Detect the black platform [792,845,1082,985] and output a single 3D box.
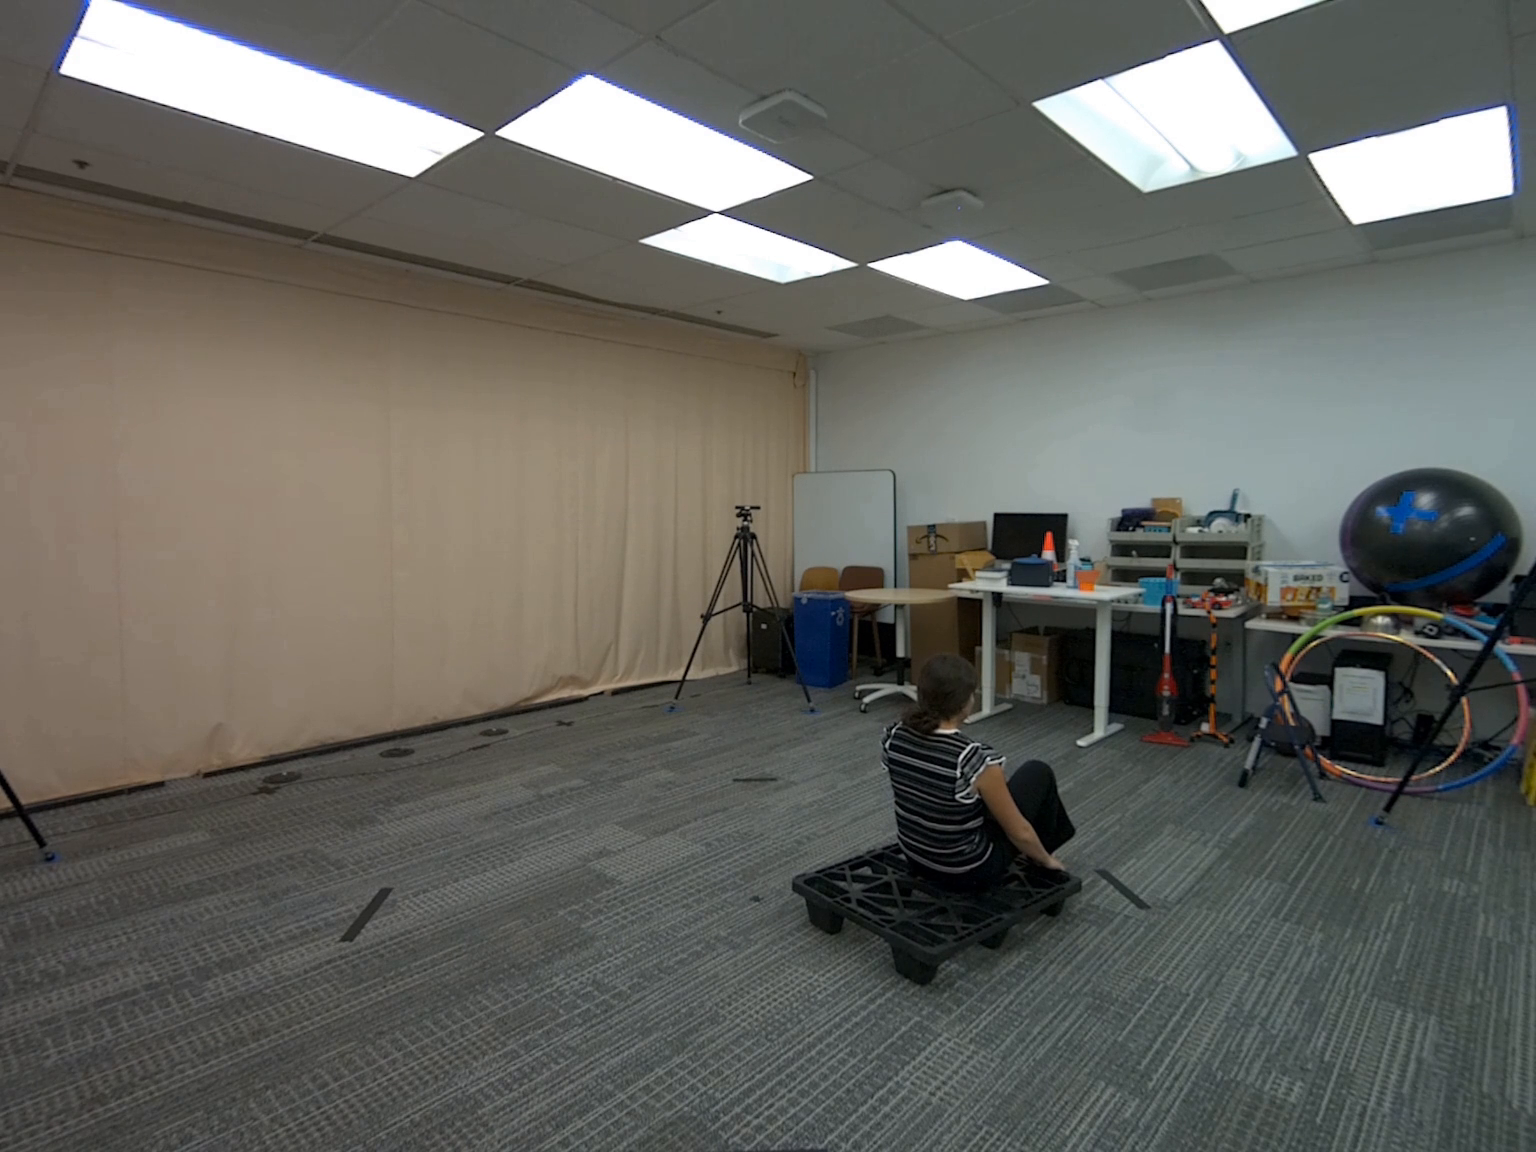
[{"bbox_3d":[0.576,1.087,2.830,0.781,0.143,0.625,-3,7,-39],"label":"black platform"}]
